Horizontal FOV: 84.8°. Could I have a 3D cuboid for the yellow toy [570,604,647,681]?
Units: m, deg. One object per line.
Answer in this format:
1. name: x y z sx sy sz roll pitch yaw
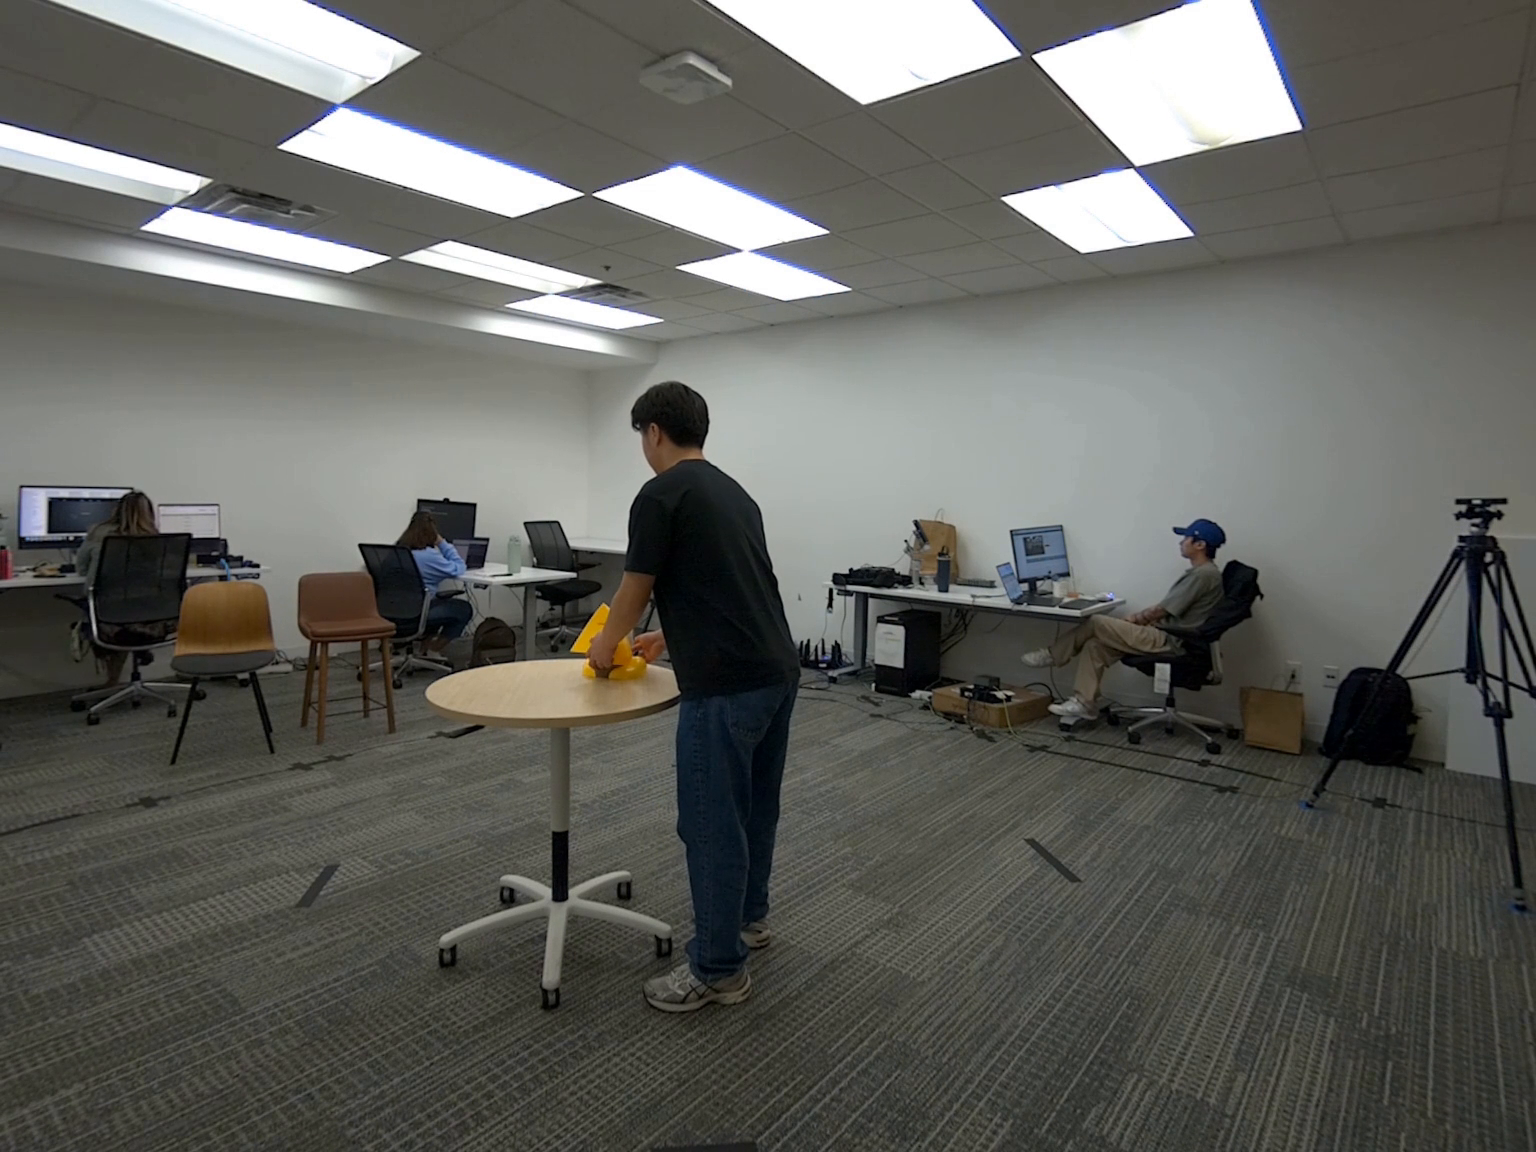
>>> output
1. yellow toy: -0.507 0.191 2.689 0.210 0.230 0.189 2 5 22
